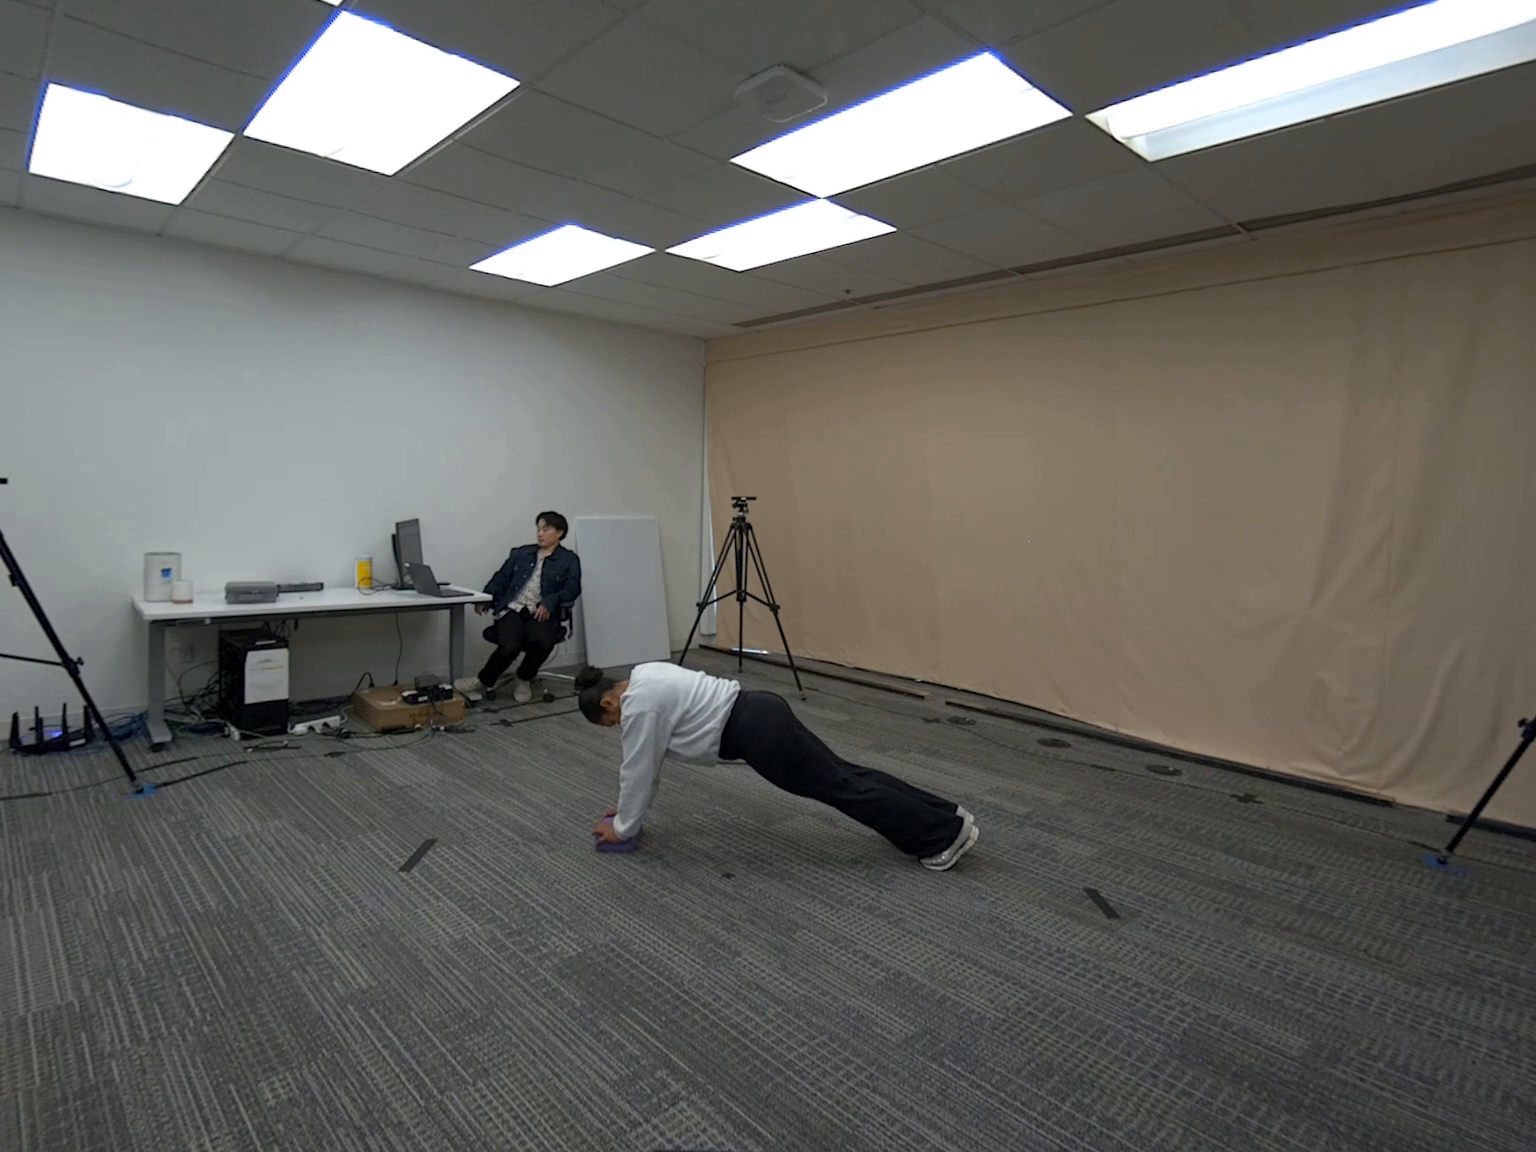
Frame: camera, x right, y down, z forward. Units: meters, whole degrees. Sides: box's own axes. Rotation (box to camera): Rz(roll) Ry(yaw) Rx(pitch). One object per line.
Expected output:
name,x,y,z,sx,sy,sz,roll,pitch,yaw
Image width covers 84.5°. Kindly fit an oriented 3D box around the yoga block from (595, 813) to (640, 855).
yoga block,-0.603,1.021,3.405,0.149,0.076,0.230,0,8,2
